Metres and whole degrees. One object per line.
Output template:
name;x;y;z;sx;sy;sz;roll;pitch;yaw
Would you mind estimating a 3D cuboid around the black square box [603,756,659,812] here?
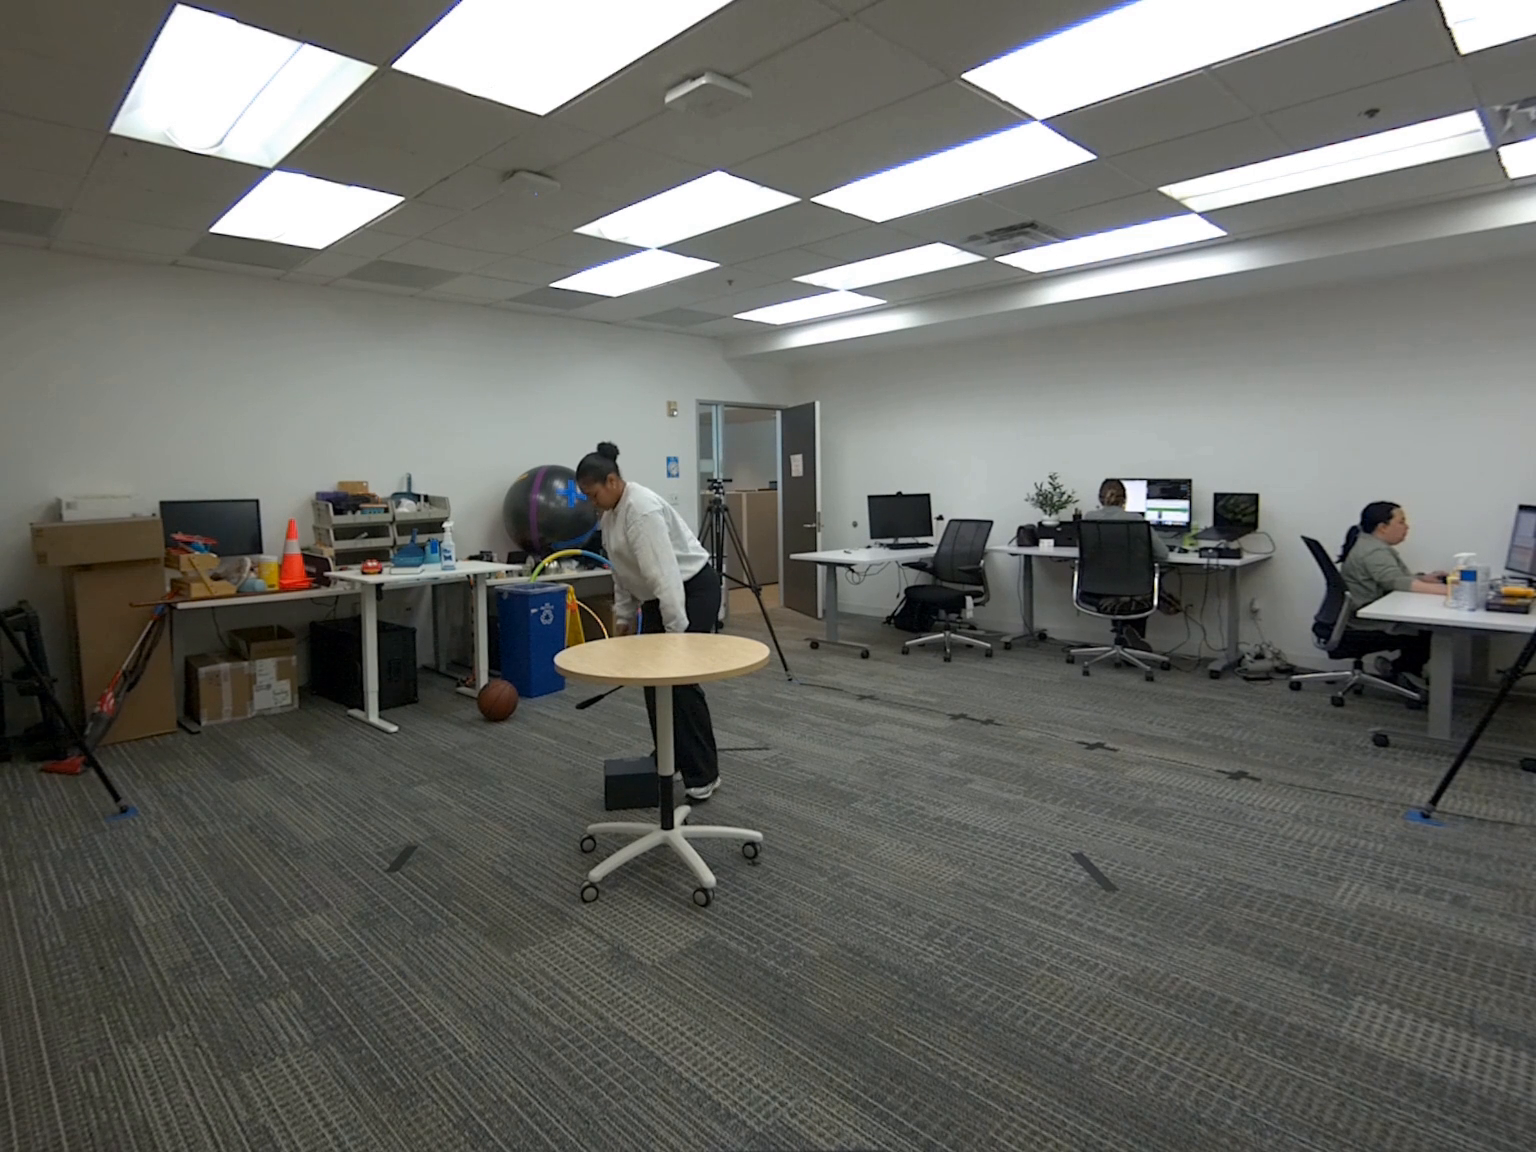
black square box;-0.601;0.903;3.746;0.226;0.155;0.220;-2;5;-10
